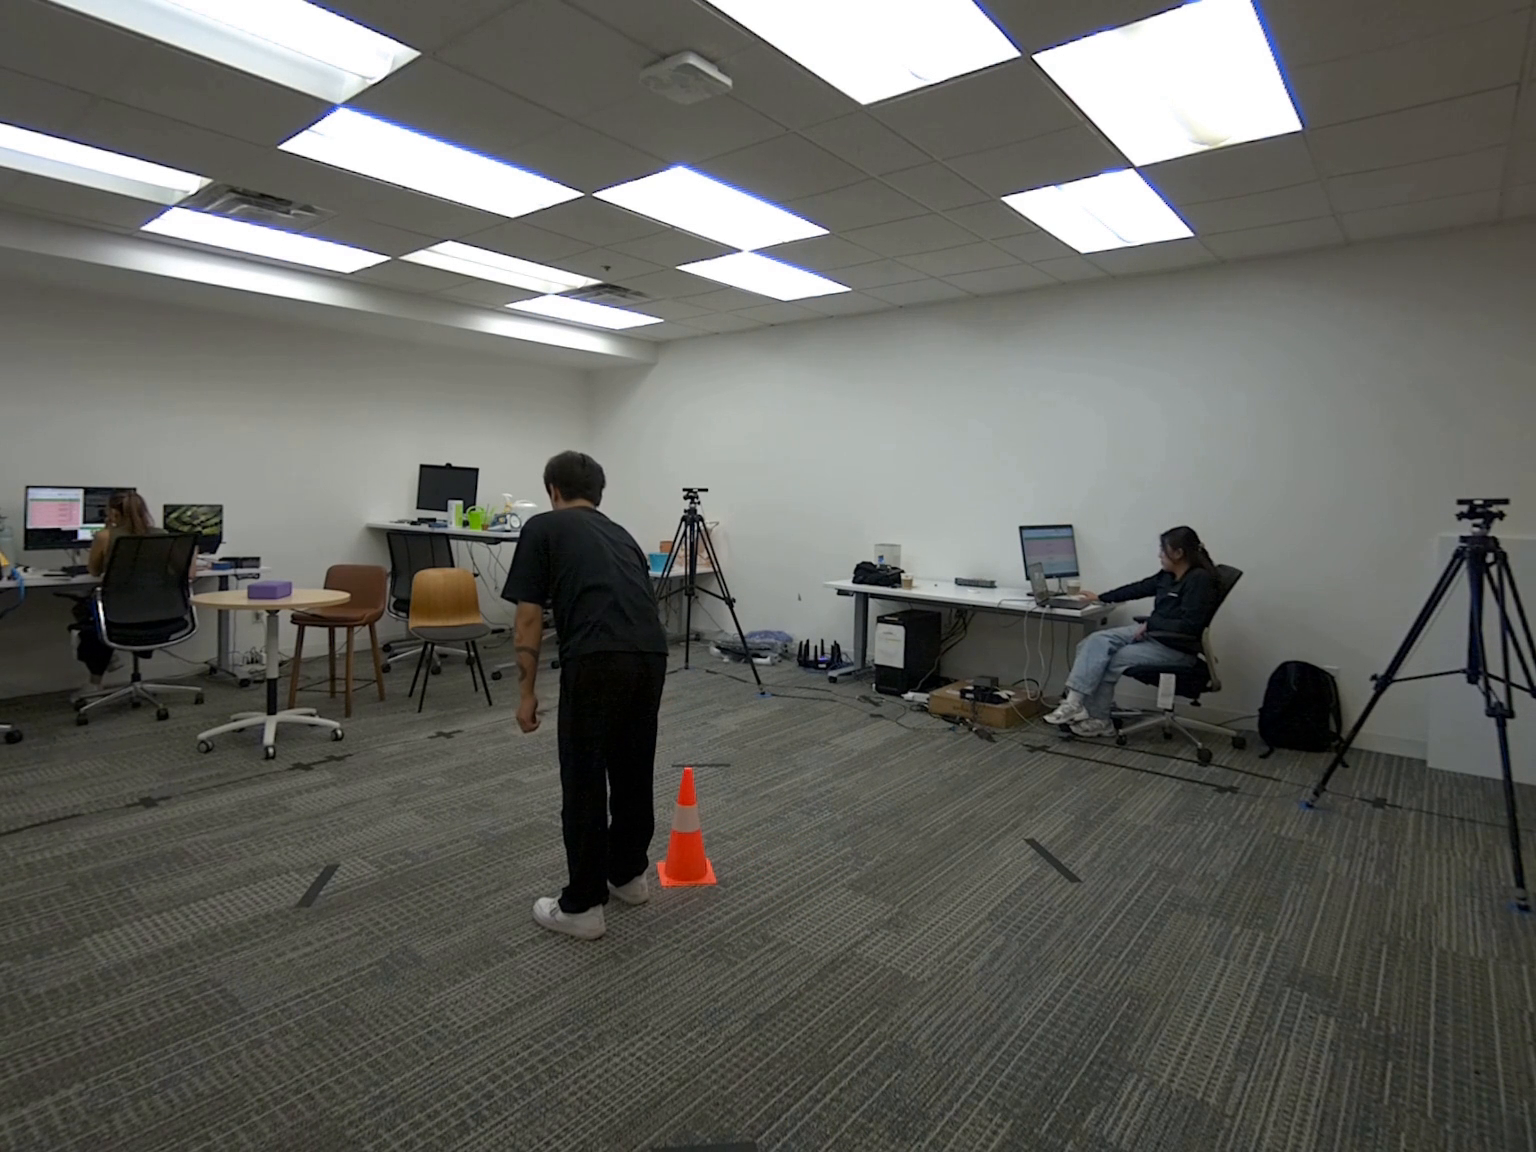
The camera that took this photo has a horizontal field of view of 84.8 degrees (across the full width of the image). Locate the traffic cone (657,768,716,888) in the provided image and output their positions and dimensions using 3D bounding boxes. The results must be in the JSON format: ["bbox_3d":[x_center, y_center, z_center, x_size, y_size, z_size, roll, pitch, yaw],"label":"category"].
[{"bbox_3d":[-0.299,0.888,3.075,0.203,0.383,0.206,1,3,-9],"label":"traffic cone"}]
